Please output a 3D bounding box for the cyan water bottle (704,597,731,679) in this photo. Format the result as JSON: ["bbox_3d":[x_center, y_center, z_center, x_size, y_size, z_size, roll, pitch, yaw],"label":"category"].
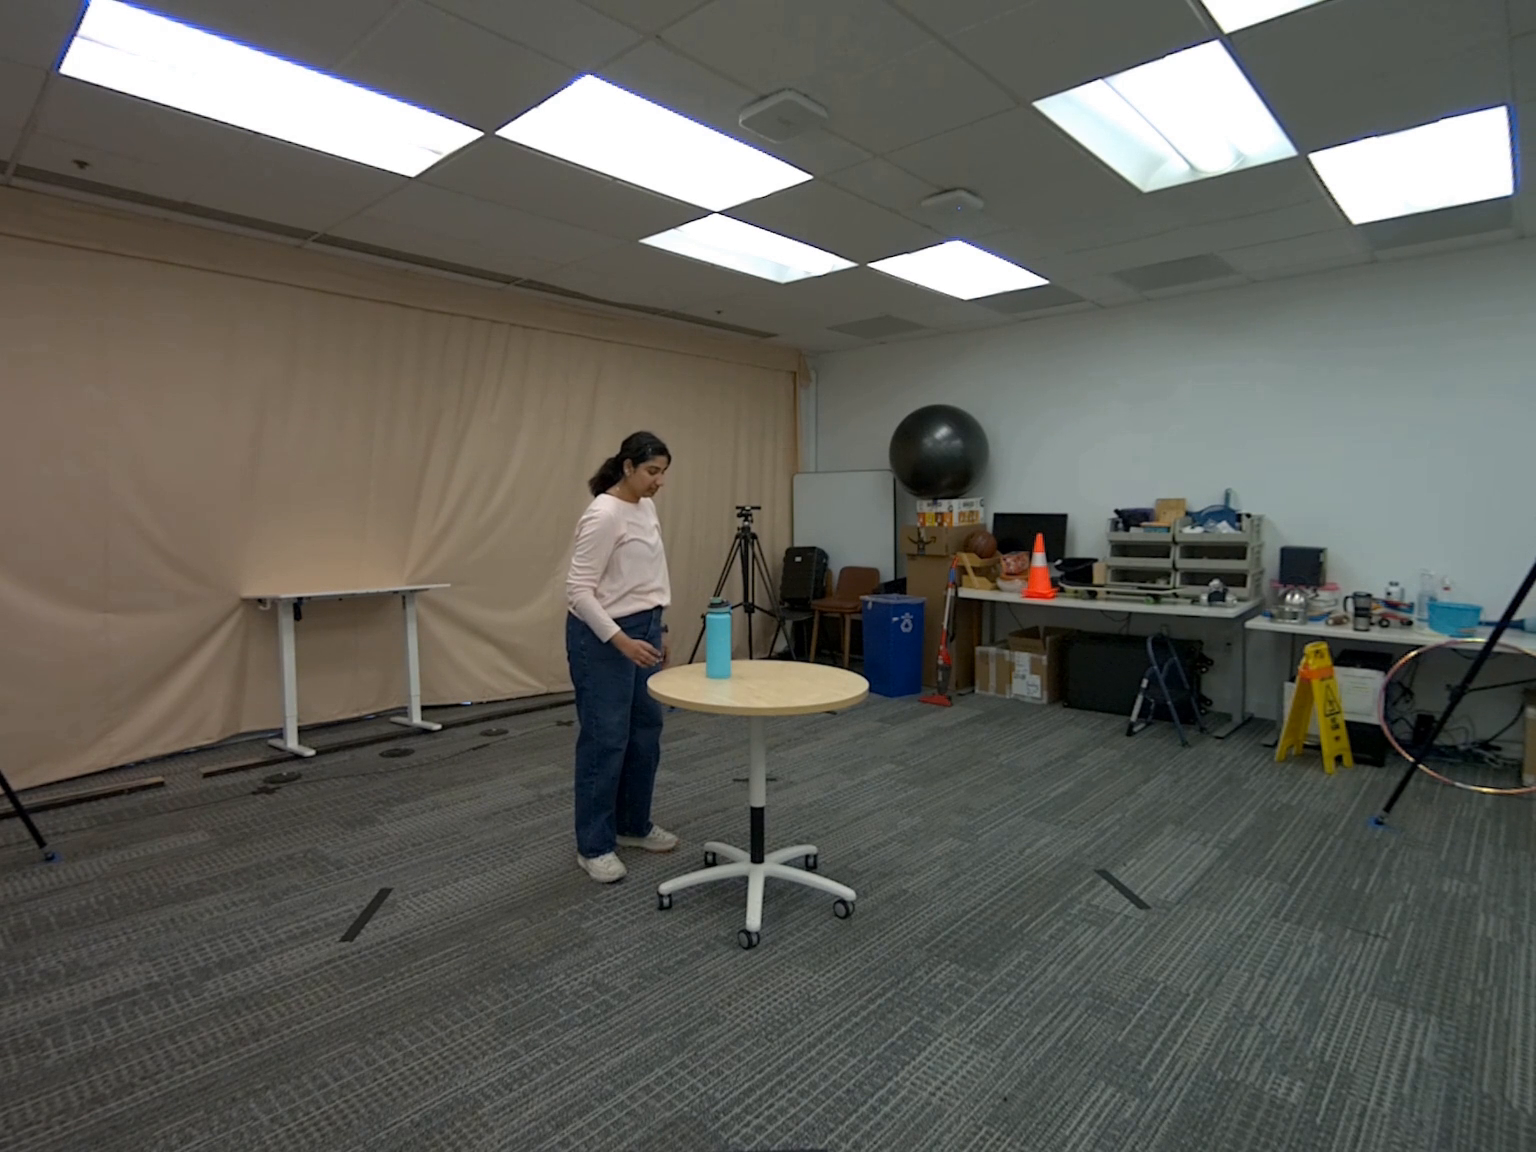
[{"bbox_3d":[-0.169,0.220,2.997,0.092,0.283,0.092,2,2,-2],"label":"cyan water bottle"}]
